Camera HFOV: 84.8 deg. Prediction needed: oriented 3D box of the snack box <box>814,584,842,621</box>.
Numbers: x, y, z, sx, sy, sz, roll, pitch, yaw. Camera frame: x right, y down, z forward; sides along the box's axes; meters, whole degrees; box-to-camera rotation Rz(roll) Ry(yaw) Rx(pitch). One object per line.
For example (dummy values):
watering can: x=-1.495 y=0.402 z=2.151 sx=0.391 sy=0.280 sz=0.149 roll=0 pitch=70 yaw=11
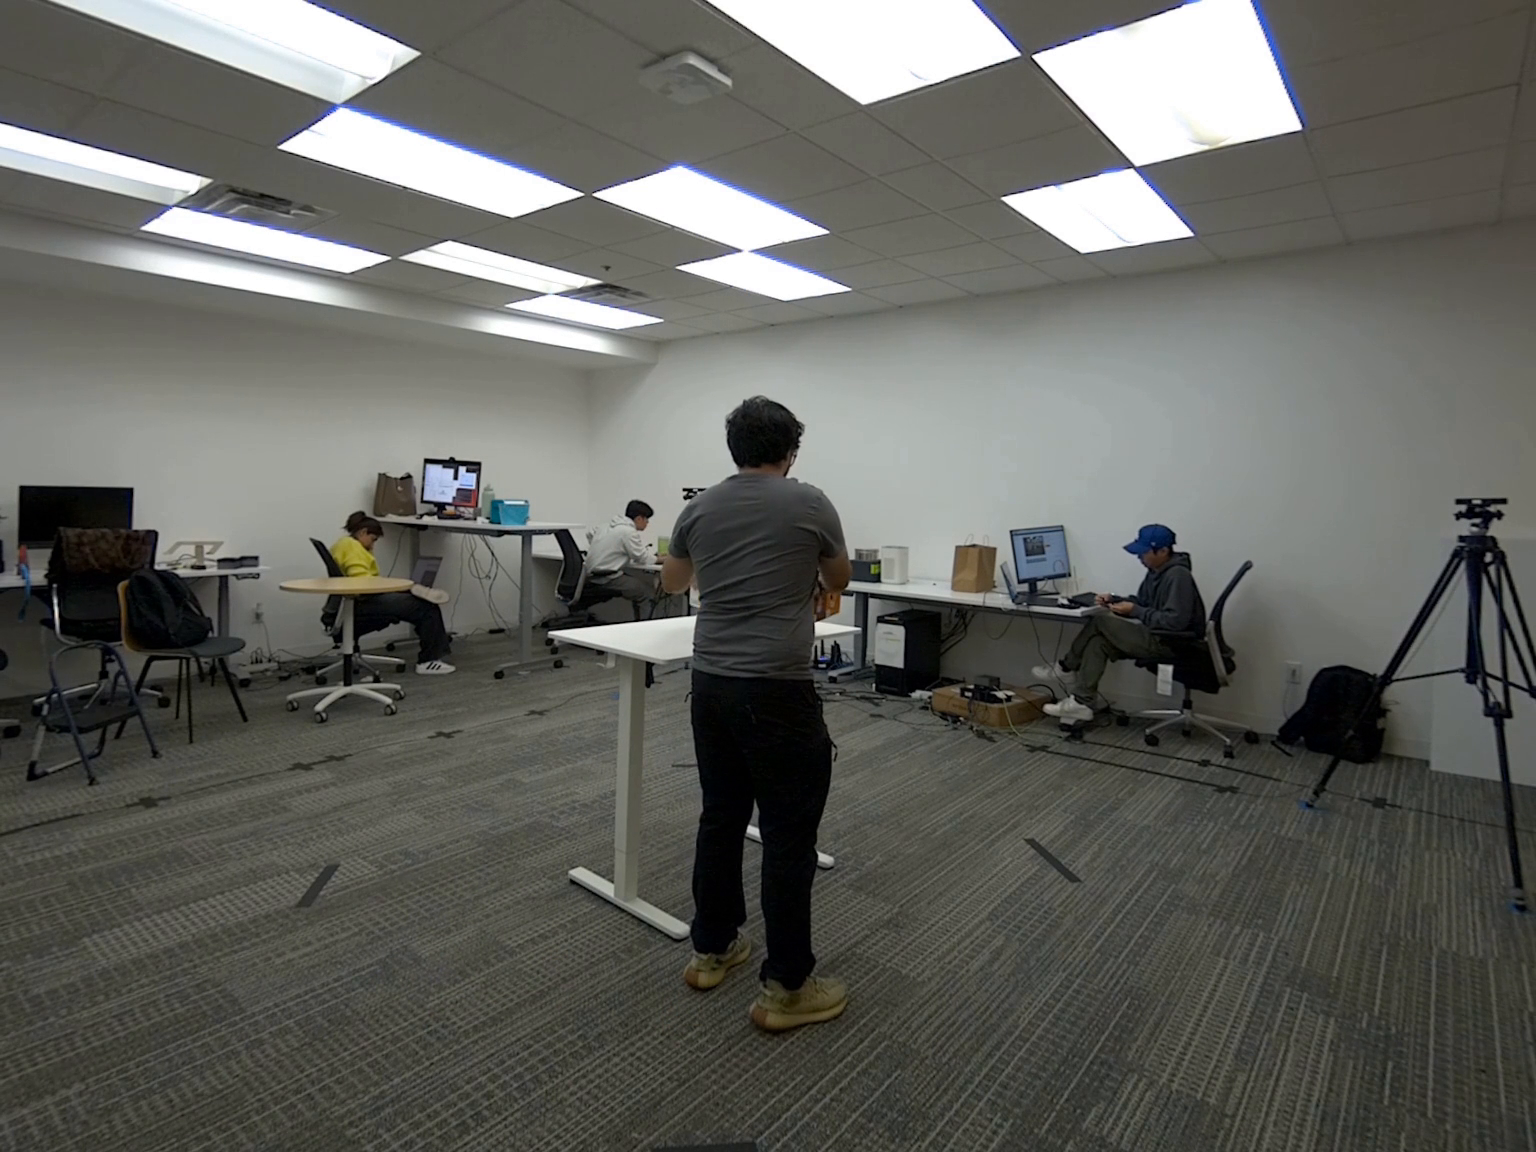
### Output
snack box: x=-0.011 y=0.021 z=2.960 sx=0.420 sy=0.203 sz=0.332 roll=14 pitch=17 yaw=36
